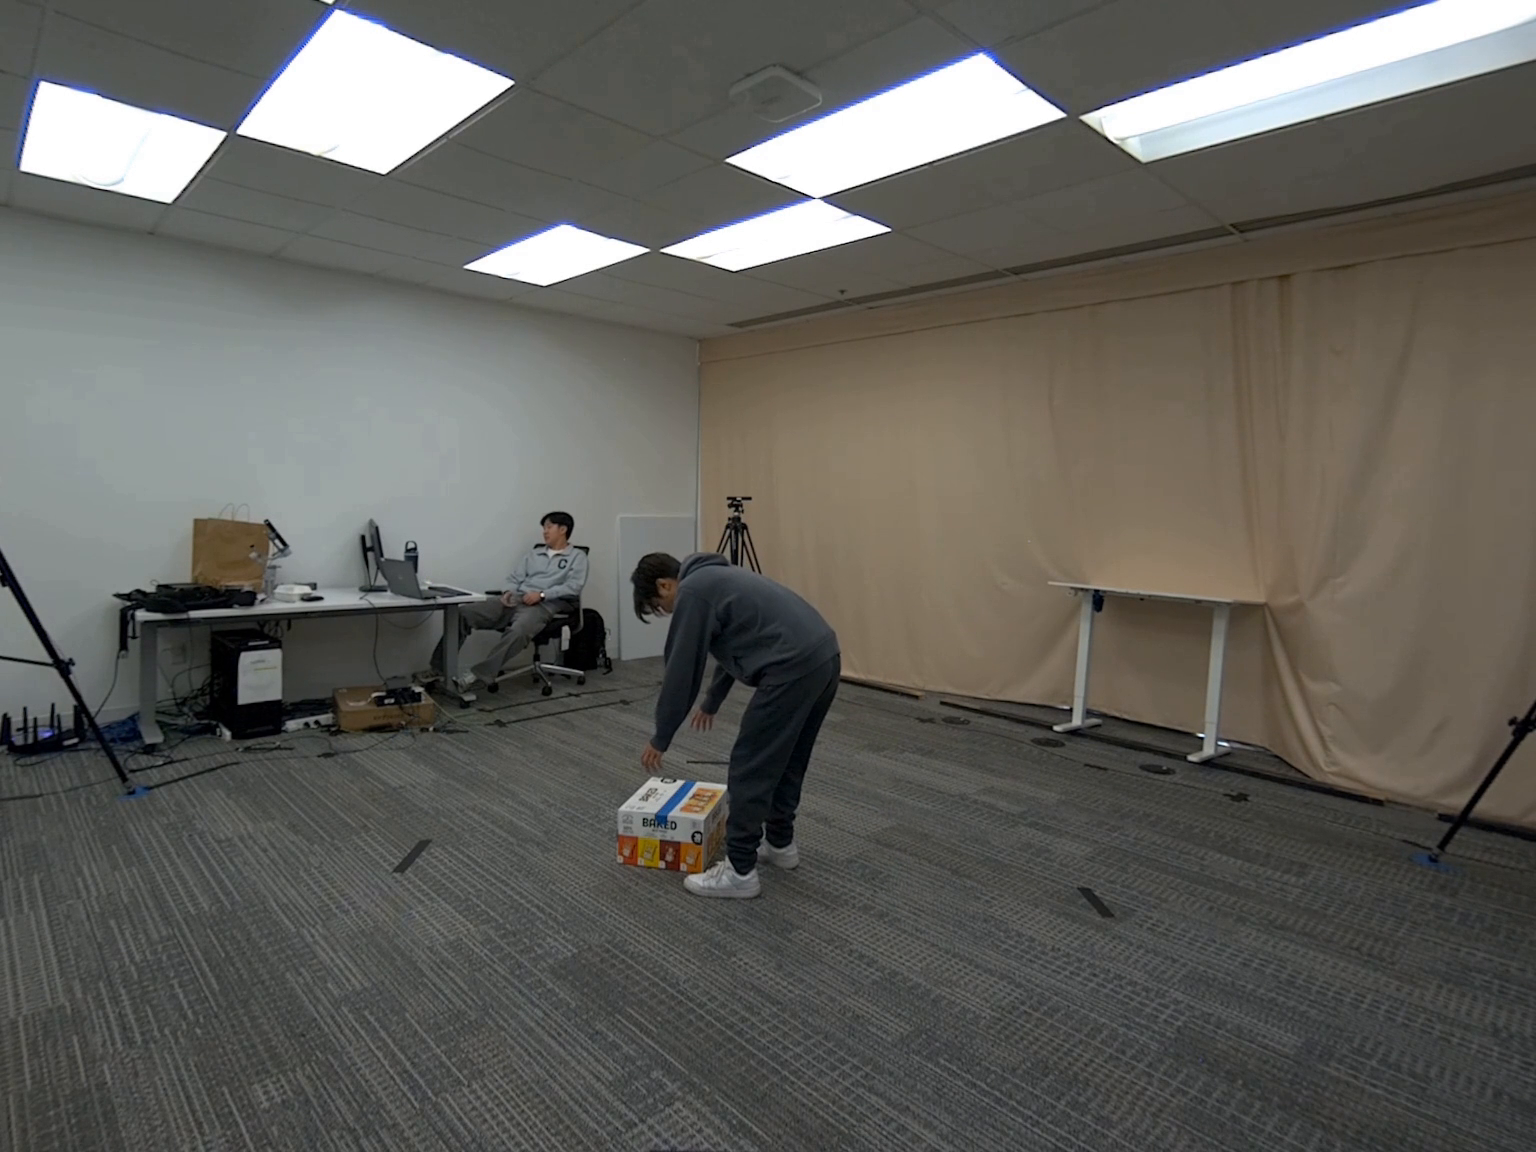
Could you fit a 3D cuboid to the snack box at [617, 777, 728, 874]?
[{"bbox_3d":[-0.376,0.978,3.339,0.344,0.205,0.402,3,5,12],"label":"snack box"}]
